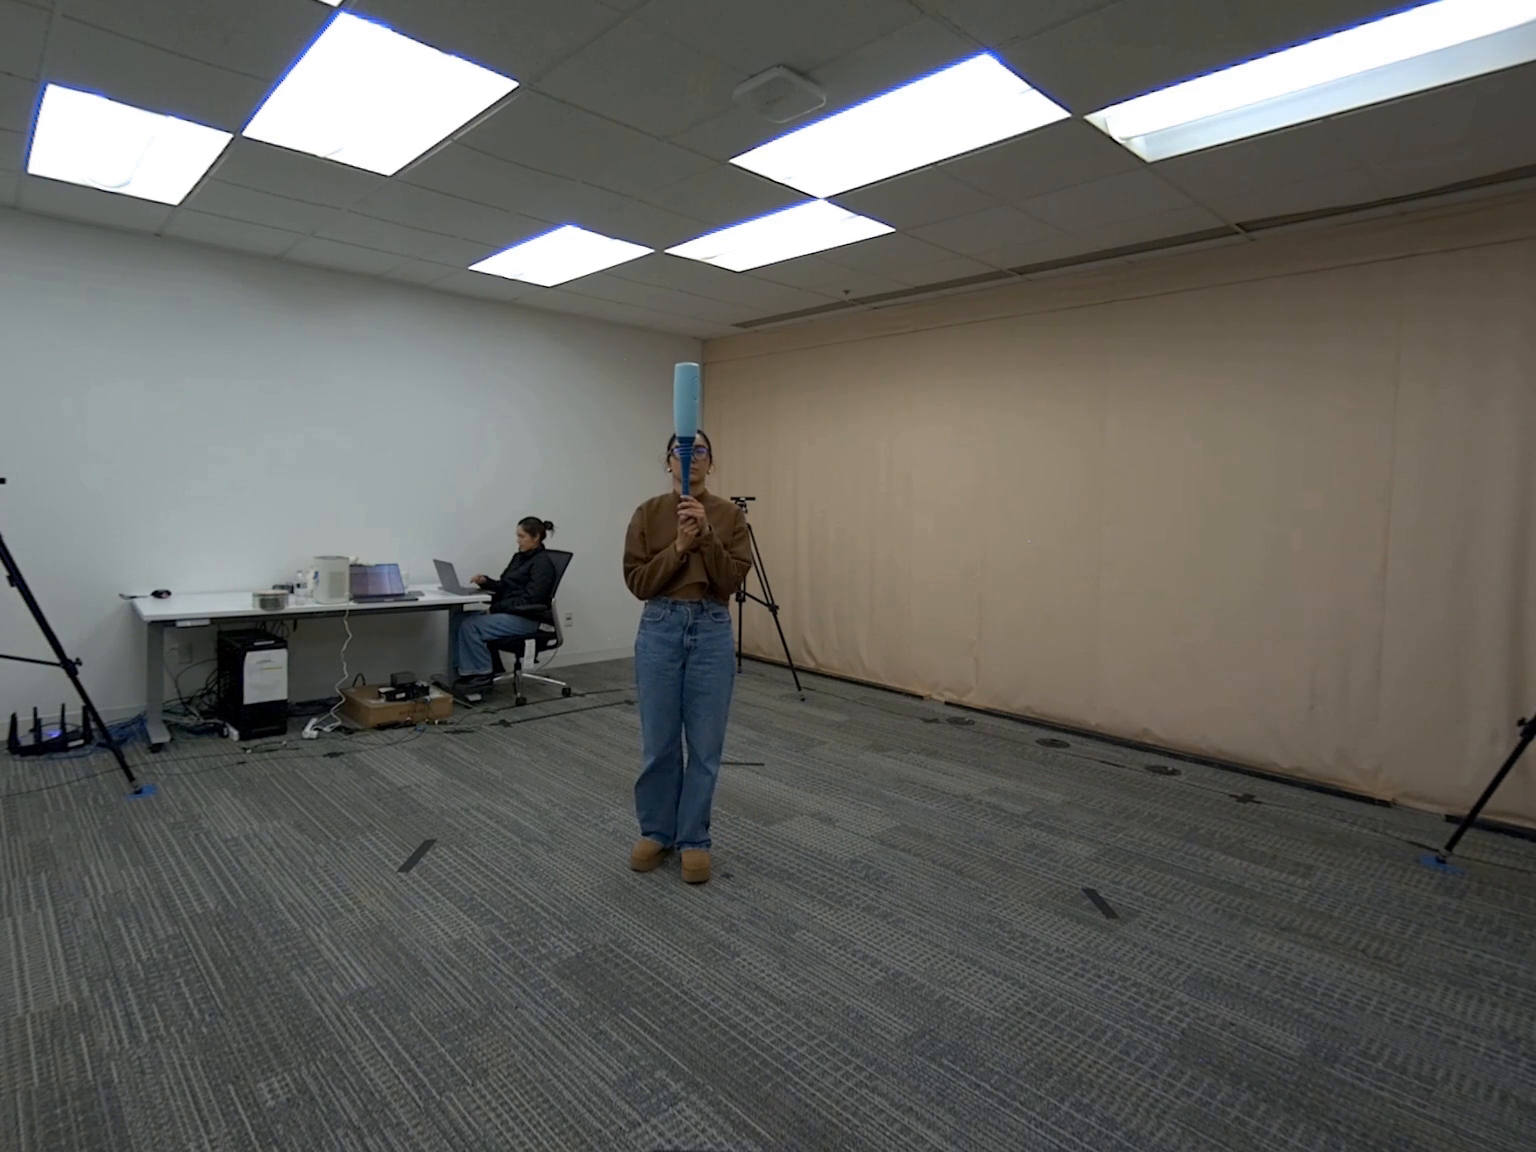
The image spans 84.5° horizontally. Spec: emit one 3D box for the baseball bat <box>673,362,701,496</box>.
[{"bbox_3d":[-0.295,-0.470,2.925,0.089,0.539,0.090,1,9,-2],"label":"baseball bat"}]
